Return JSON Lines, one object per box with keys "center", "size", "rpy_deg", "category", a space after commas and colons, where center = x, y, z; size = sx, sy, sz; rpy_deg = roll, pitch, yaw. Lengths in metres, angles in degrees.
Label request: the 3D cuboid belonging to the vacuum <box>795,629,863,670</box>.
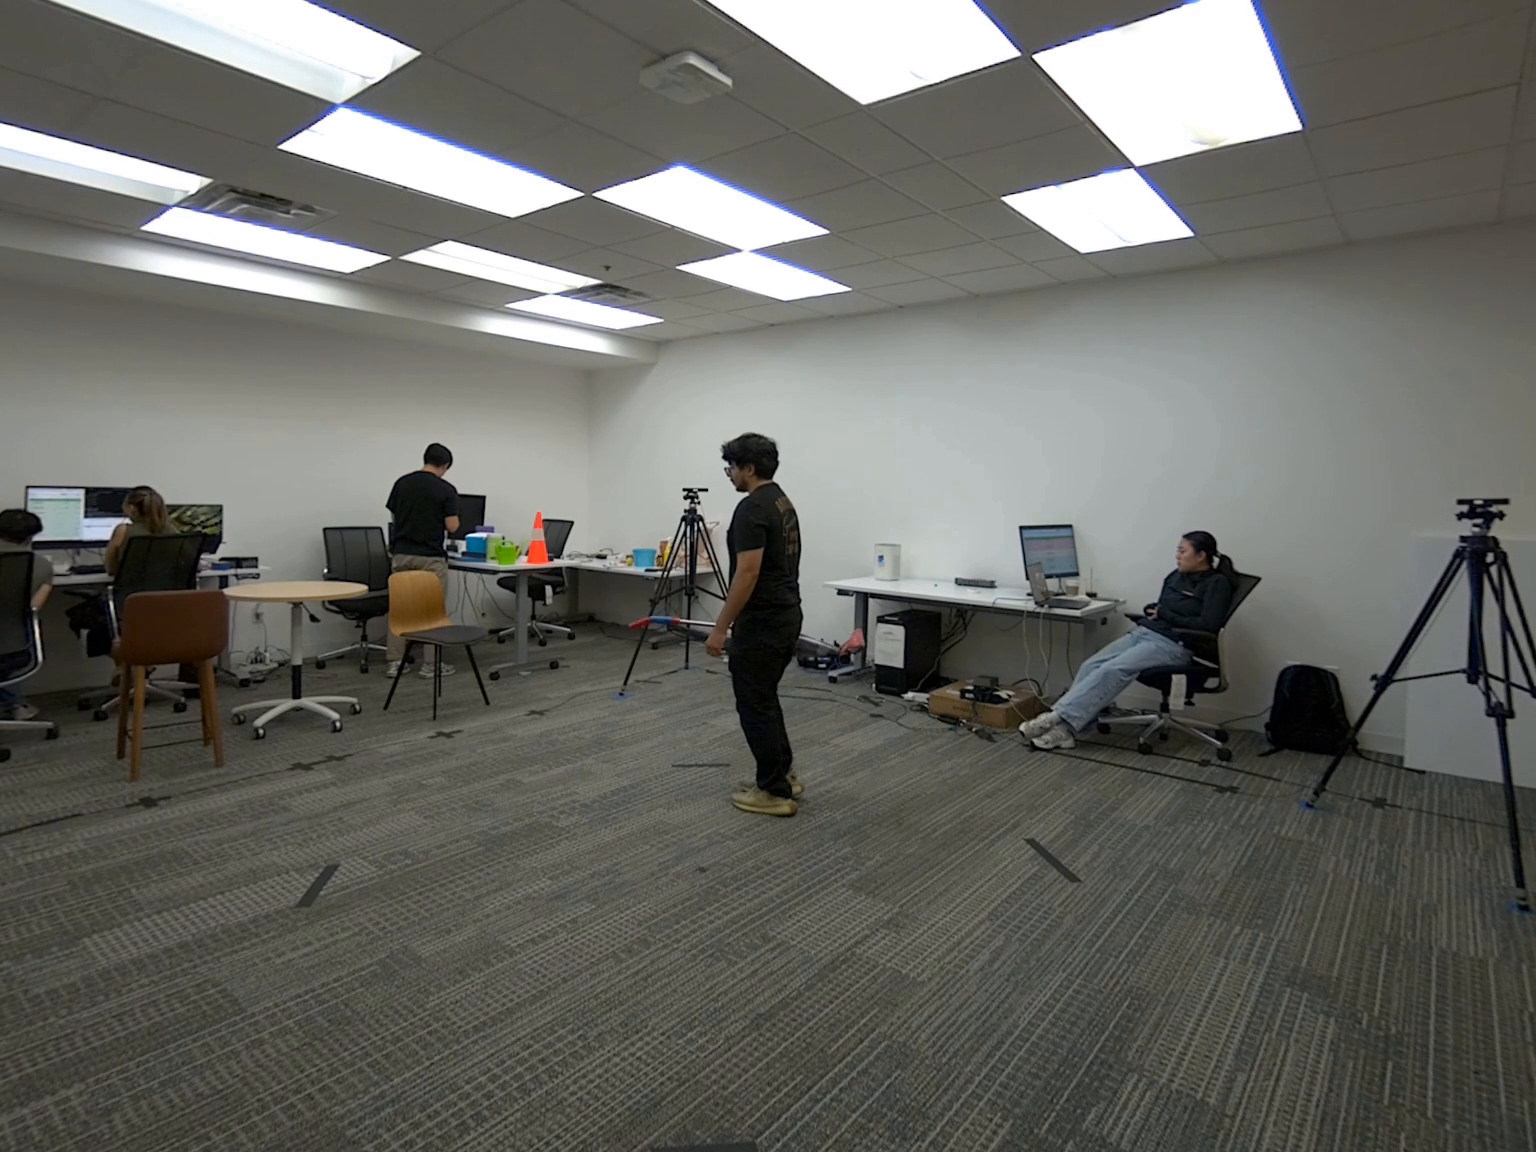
{"center": [-0.138, 0.294, 3.983], "size": [1.052, 0.142, 0.254], "rpy_deg": [5, 13, 2], "category": "vacuum"}
